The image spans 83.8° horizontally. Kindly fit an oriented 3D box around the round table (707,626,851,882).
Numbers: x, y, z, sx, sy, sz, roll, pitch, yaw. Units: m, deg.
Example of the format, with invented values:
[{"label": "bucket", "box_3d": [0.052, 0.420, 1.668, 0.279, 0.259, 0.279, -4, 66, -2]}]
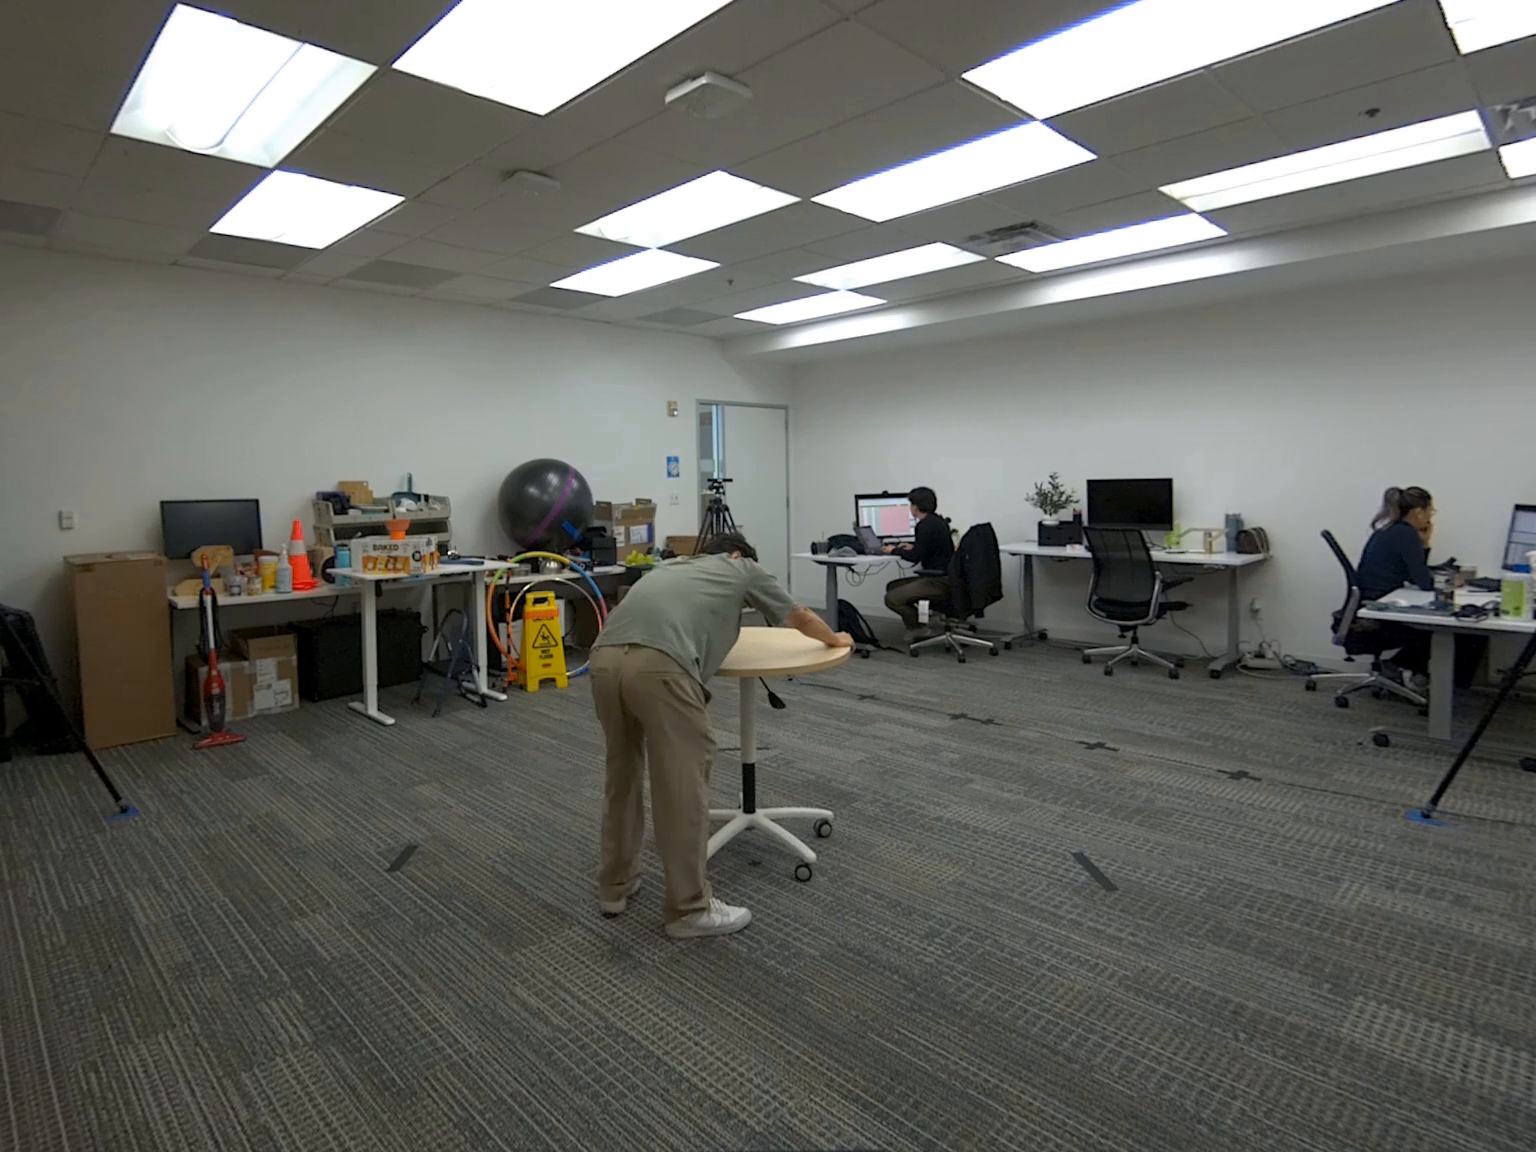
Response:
[{"label": "round table", "box_3d": [-0.084, 0.641, 3.229, 0.784, 0.783, 0.789, -1, 5, -2]}]
